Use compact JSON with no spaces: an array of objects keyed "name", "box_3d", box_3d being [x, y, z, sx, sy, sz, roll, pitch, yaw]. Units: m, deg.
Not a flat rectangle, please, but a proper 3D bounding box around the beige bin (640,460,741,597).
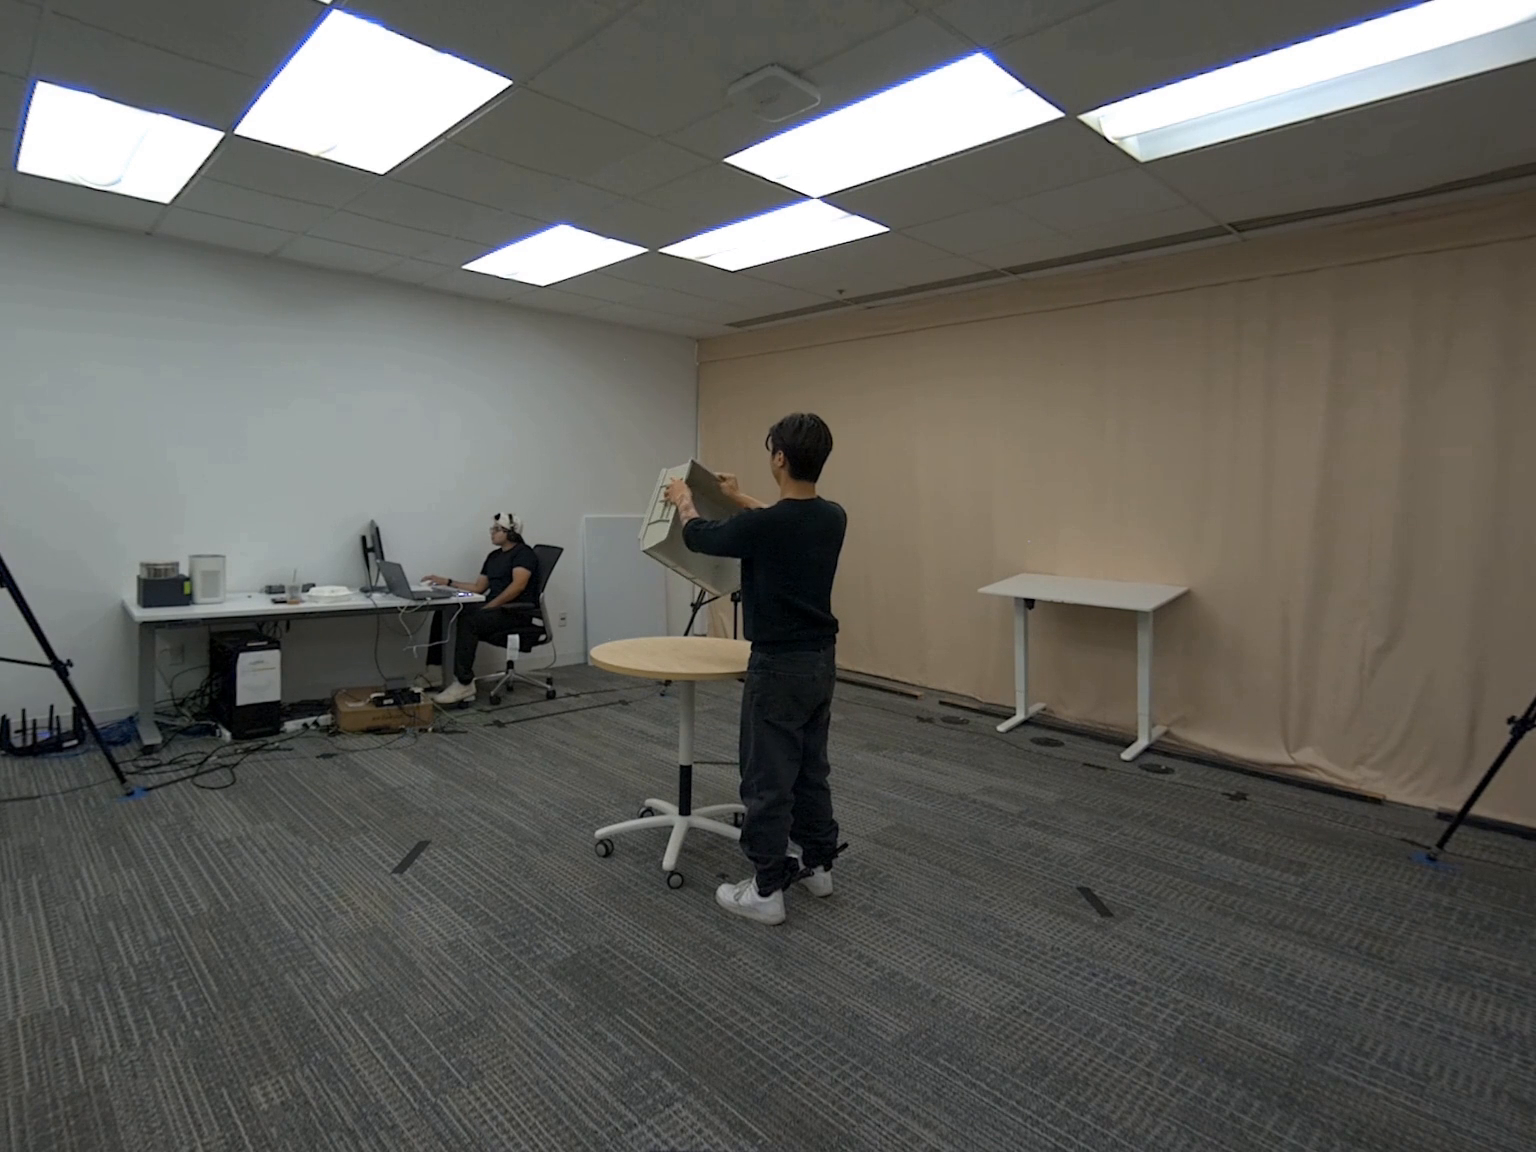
[{"name":"beige bin","box_3d":[-0.262,-0.176,3.271,0.193,0.381,0.410,-9,-33,46]}]
